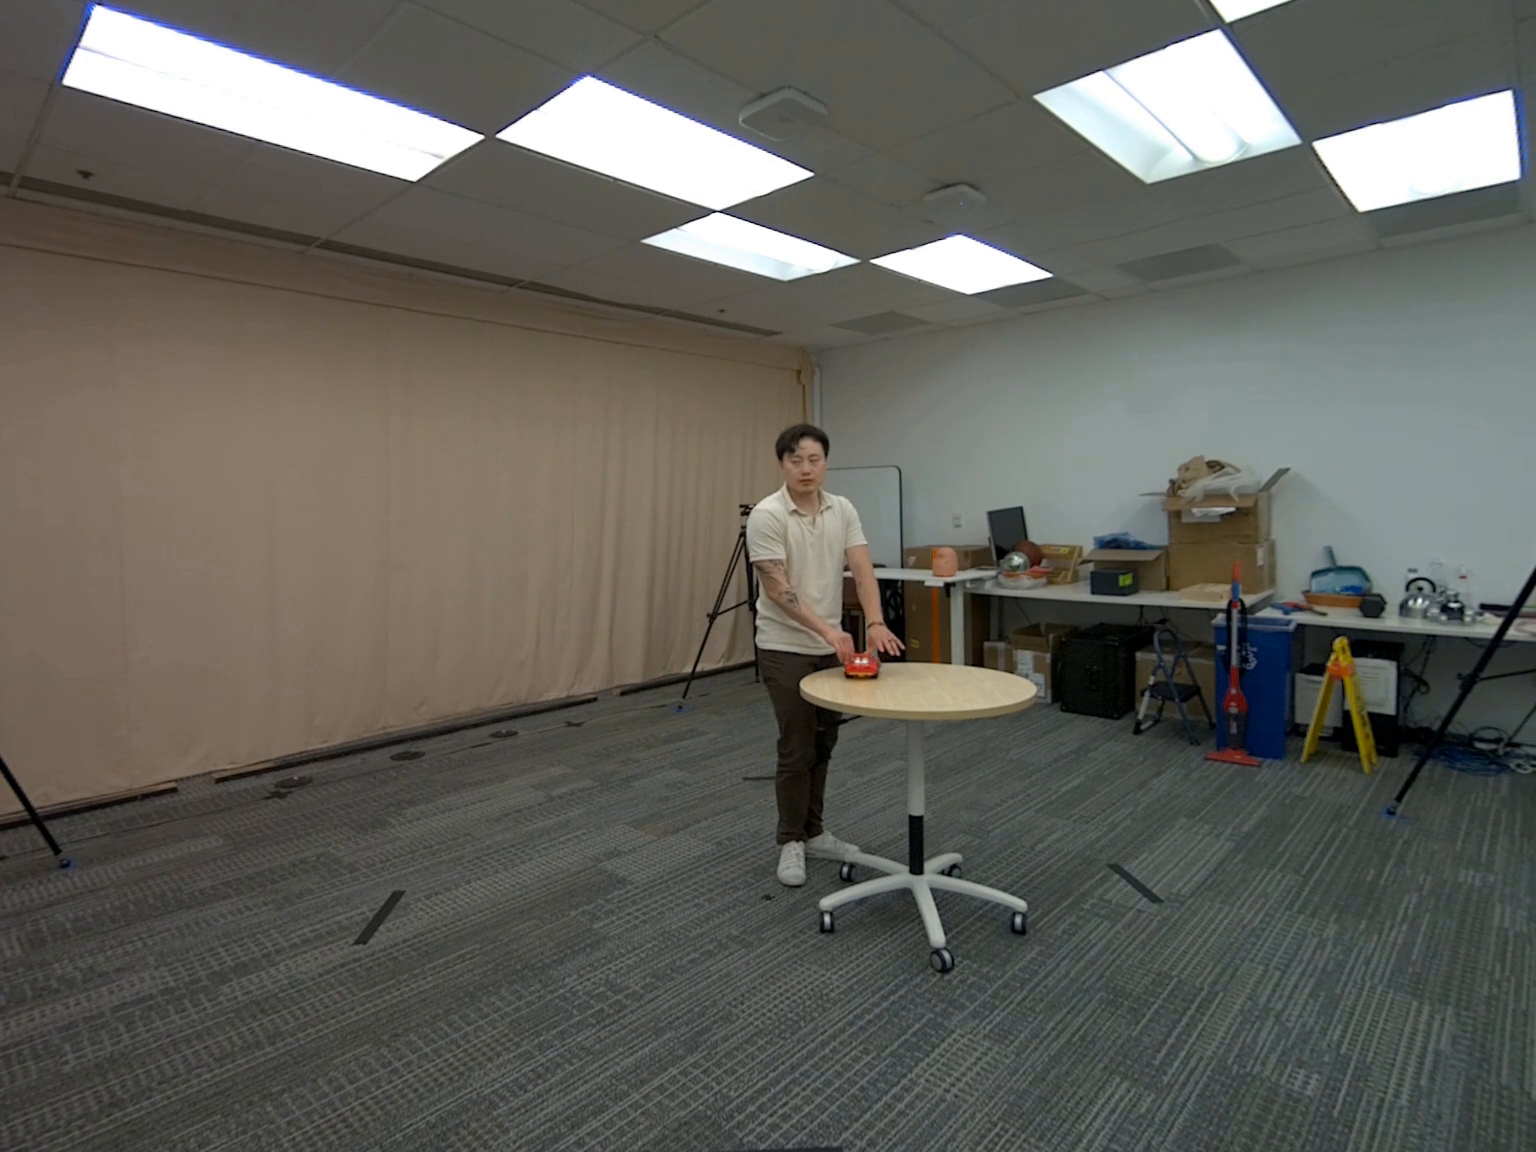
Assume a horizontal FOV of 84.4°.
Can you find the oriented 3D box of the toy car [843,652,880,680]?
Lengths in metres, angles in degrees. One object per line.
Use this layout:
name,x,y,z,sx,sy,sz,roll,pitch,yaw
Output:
toy car,0.339,0.320,2.976,0.132,0.083,0.250,-1,-5,10
